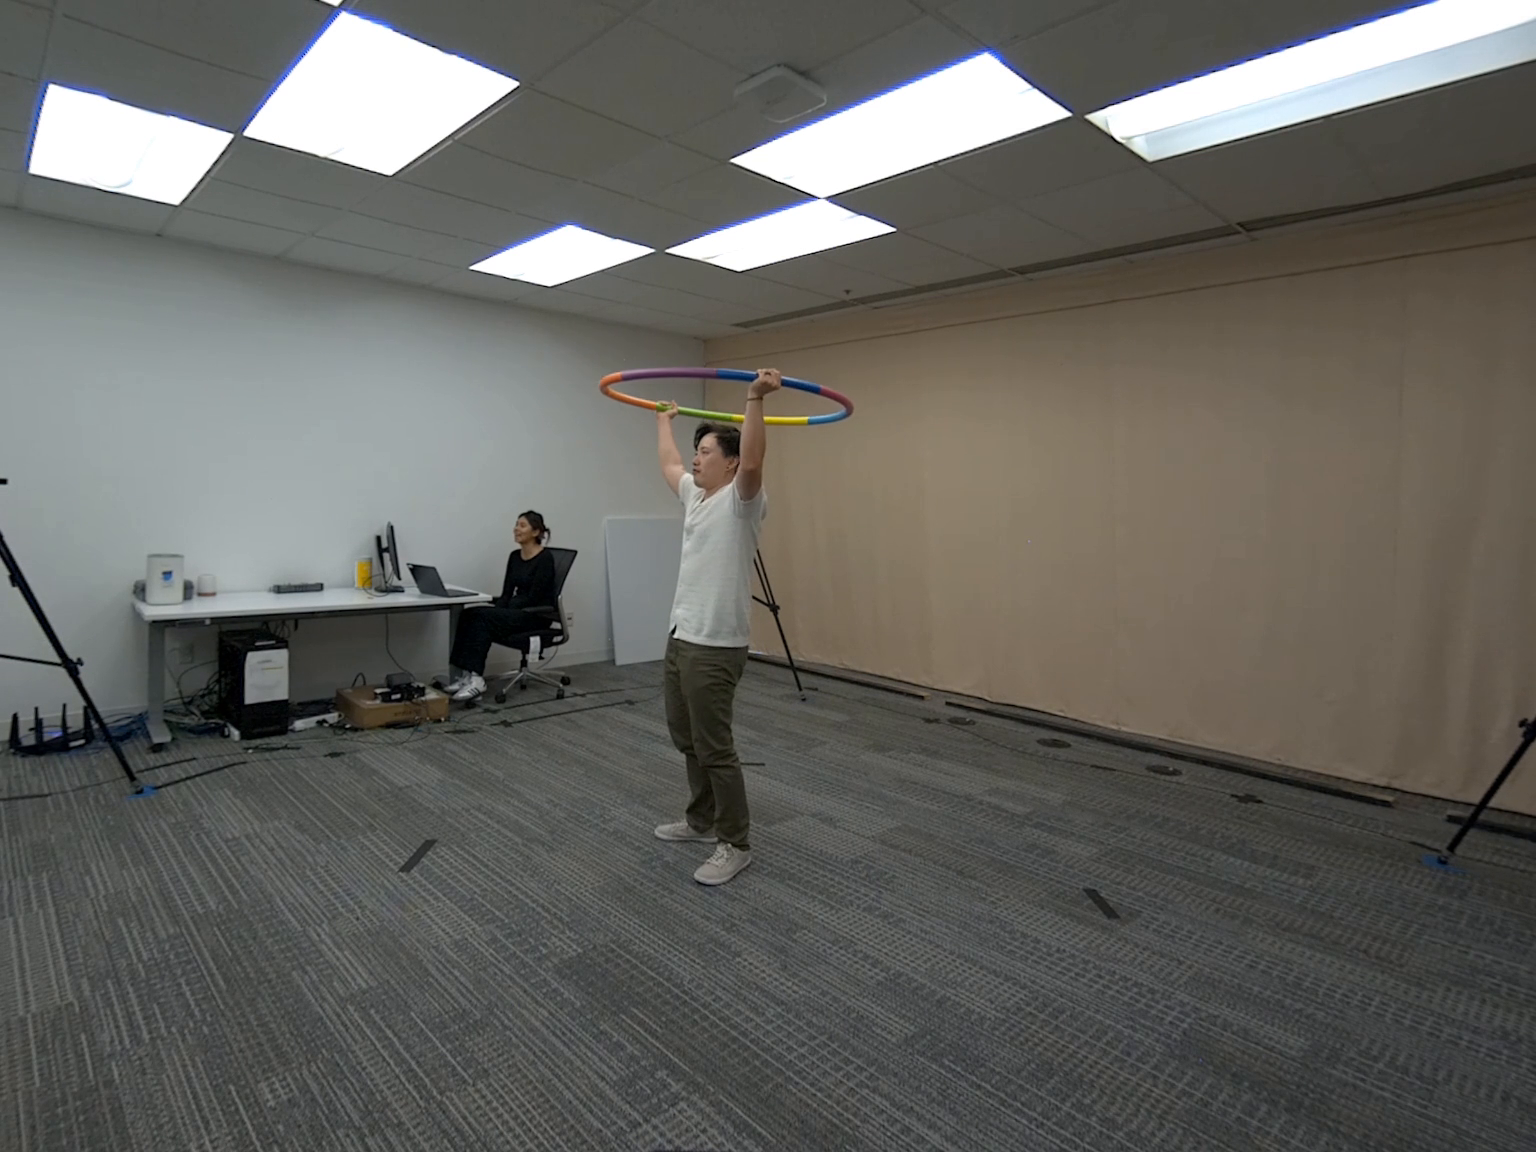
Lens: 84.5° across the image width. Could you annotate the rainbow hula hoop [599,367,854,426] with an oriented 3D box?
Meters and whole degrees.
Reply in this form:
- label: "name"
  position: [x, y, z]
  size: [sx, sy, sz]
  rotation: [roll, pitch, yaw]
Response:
- label: "rainbow hula hoop"
  position: [-0.162, -0.677, 3.274]
  size: [0.978, 0.035, 0.980]
  rotation: [6, 2, -1]
